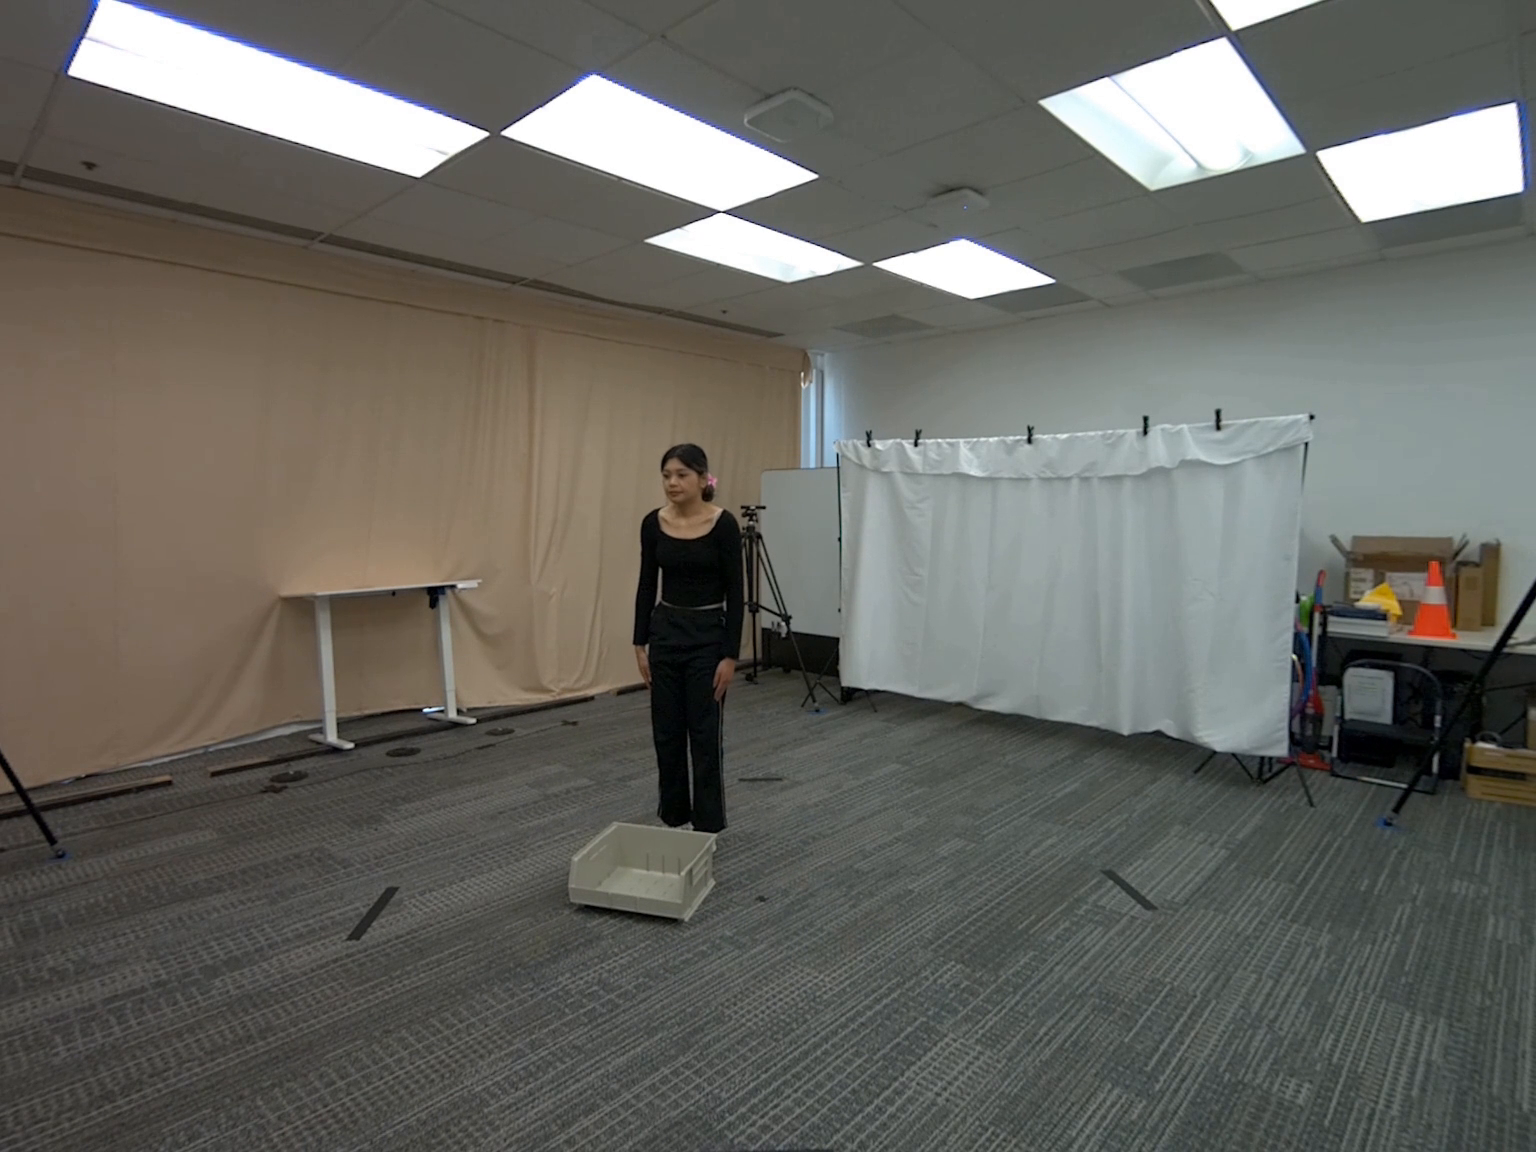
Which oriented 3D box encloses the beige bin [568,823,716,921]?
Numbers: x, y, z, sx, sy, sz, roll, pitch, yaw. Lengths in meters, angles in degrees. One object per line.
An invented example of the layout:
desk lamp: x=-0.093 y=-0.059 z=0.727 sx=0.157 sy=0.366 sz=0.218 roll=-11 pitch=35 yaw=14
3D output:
beige bin: x=-0.438 y=1.056 z=3.003 sx=0.430 sy=0.189 sz=0.371 roll=0 pitch=3 yaw=17
